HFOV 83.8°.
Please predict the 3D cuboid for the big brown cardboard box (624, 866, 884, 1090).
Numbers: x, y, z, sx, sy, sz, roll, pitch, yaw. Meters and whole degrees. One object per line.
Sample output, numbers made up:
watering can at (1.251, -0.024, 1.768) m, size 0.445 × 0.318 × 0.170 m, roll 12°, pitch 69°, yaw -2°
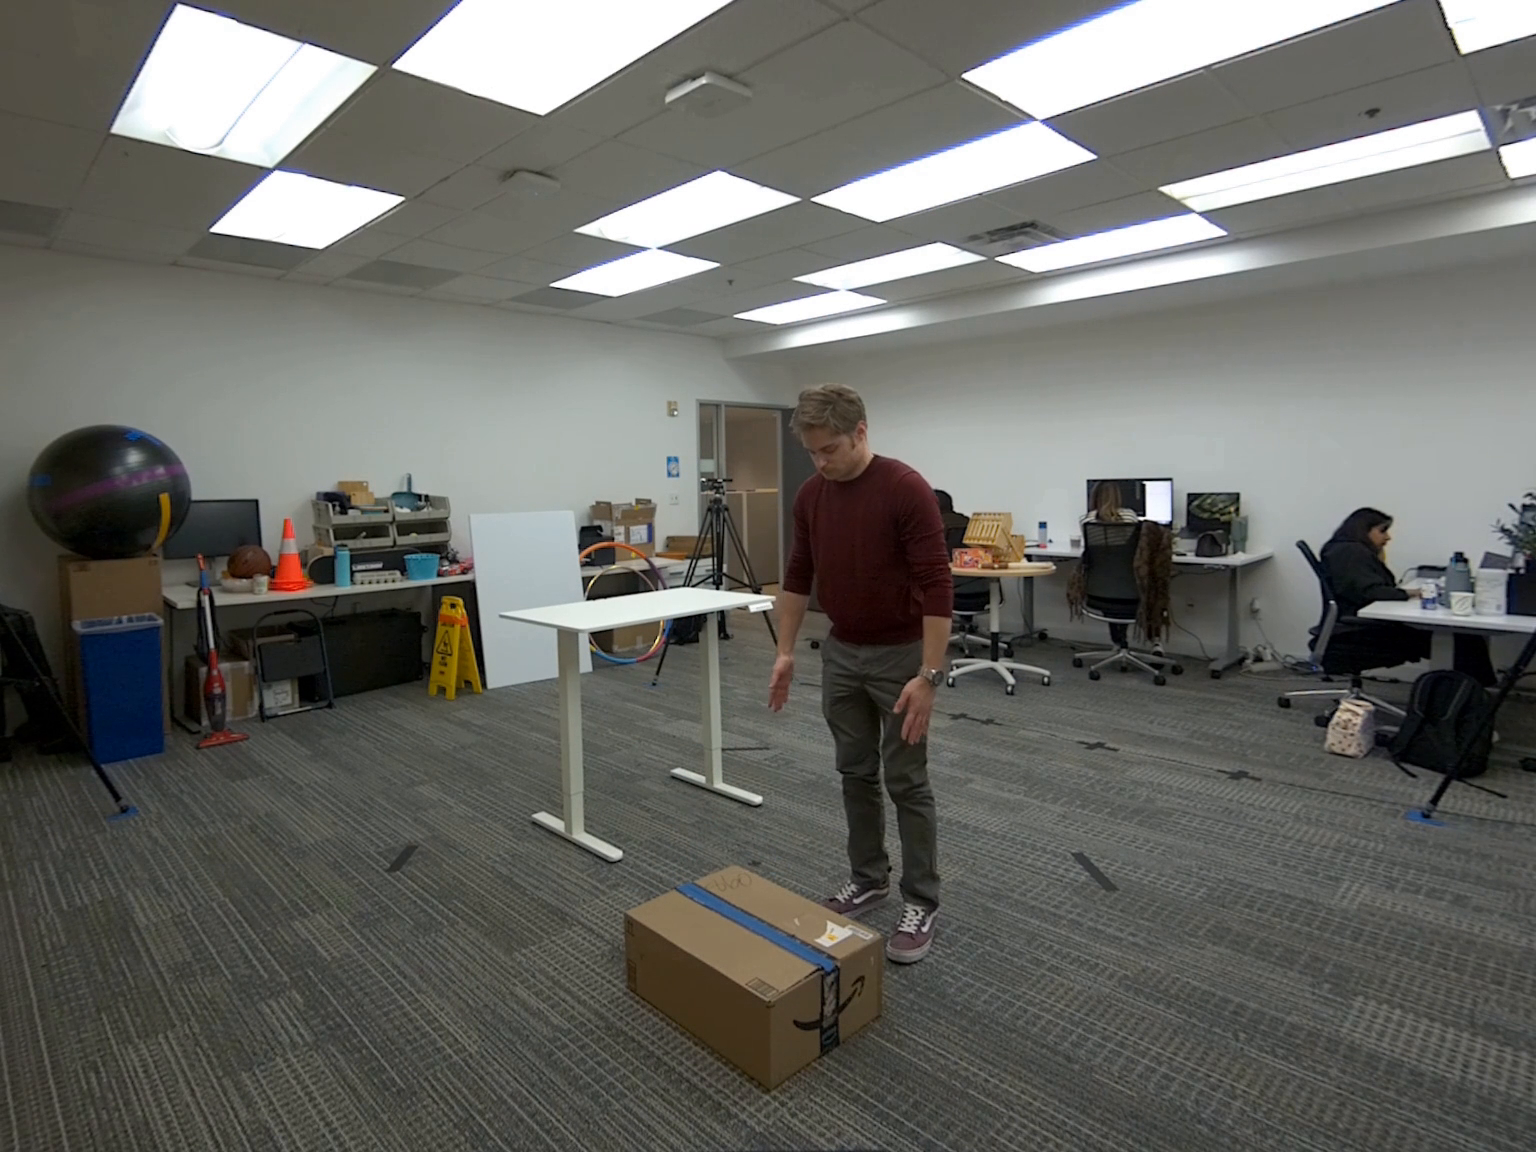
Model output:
big brown cardboard box at (-0.039, 1.034, 2.279) m, size 0.407 × 0.232 × 0.607 m, roll -7°, pitch 8°, yaw -44°
